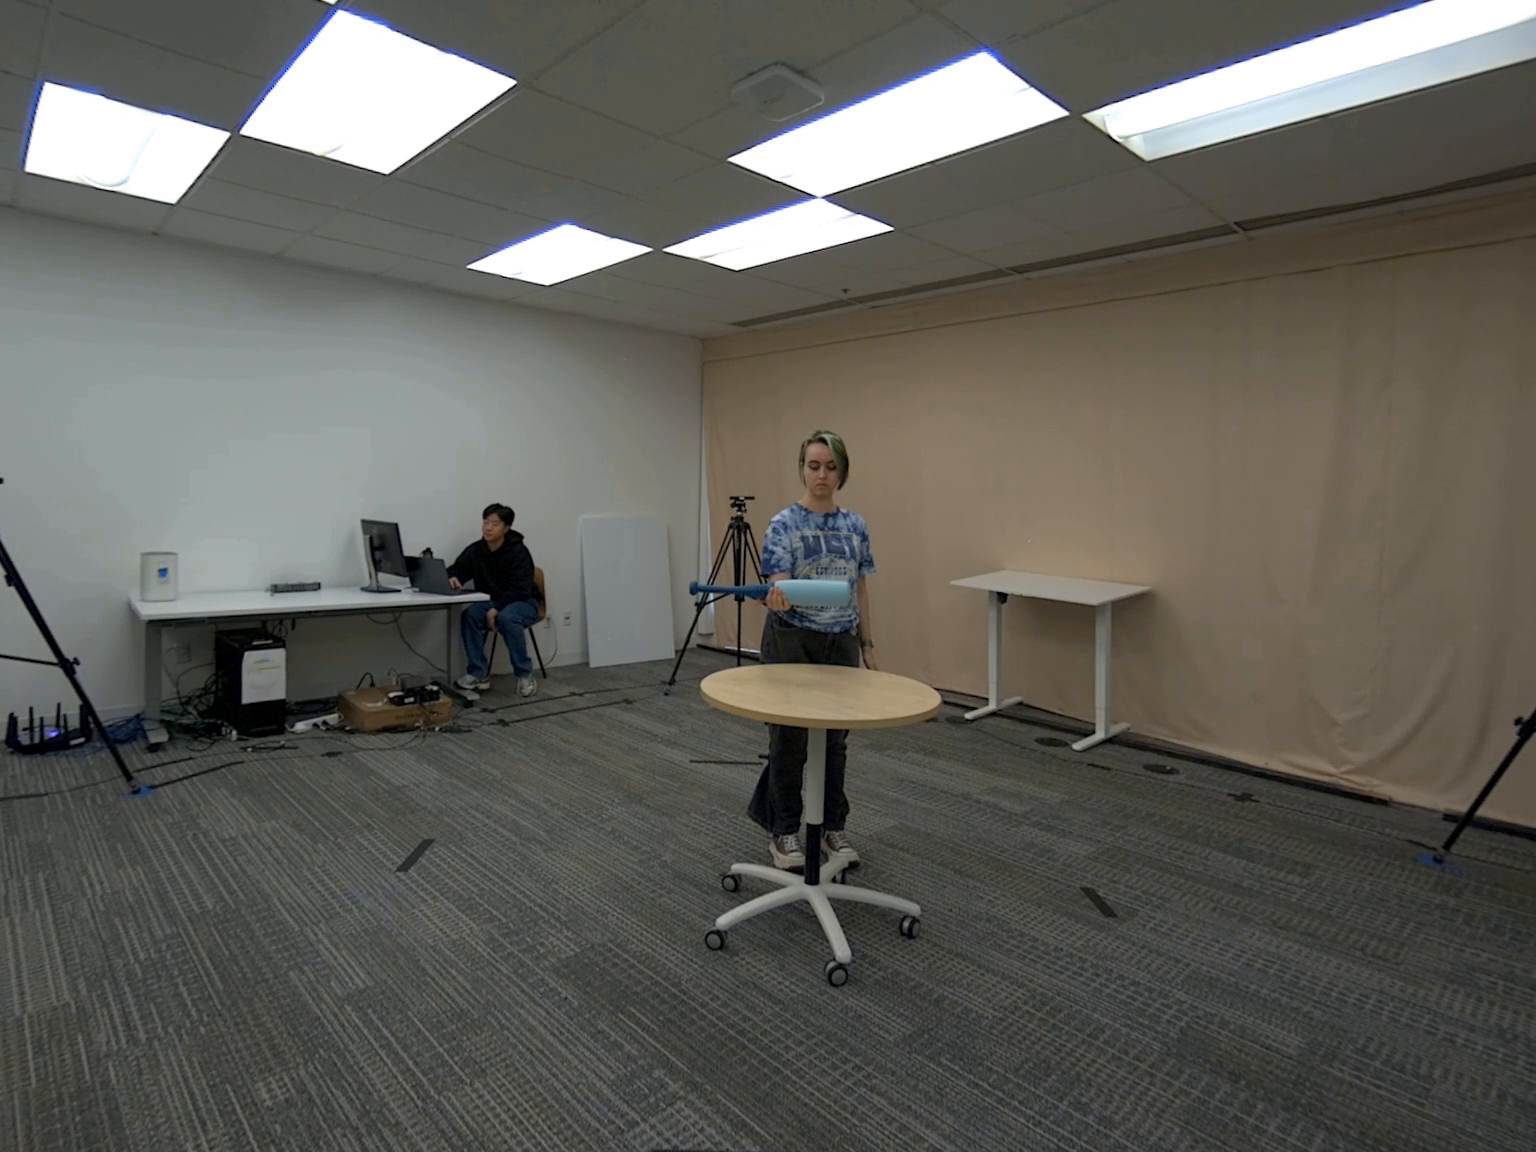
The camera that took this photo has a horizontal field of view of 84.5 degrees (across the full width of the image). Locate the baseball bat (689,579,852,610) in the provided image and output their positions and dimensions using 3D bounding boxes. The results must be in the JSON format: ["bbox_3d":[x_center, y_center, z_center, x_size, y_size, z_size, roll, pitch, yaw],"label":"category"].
[{"bbox_3d":[-0.019,0.060,2.827,0.546,0.089,0.089,2,4,7],"label":"baseball bat"}]
